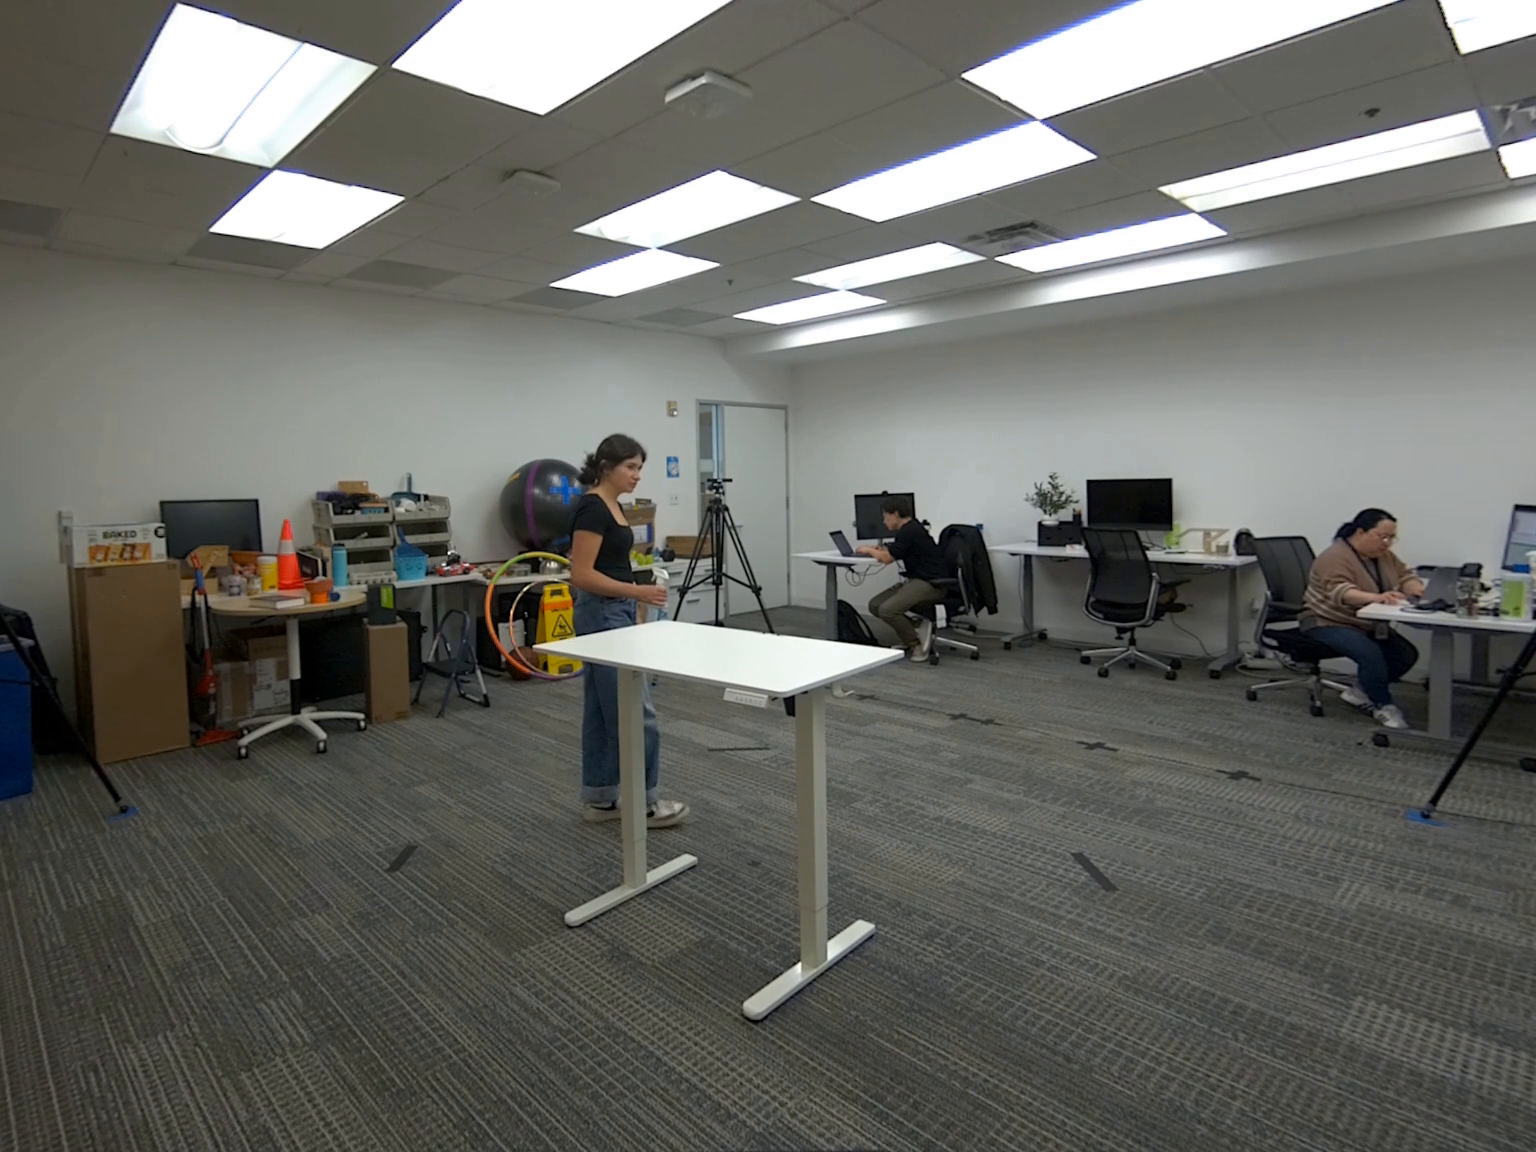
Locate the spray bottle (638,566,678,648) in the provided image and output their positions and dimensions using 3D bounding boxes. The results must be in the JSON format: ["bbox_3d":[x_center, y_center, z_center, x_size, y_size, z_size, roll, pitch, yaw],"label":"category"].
[{"bbox_3d":[-0.433,0.118,3.365,0.085,0.297,0.092,9,-1,-23],"label":"spray bottle"}]
